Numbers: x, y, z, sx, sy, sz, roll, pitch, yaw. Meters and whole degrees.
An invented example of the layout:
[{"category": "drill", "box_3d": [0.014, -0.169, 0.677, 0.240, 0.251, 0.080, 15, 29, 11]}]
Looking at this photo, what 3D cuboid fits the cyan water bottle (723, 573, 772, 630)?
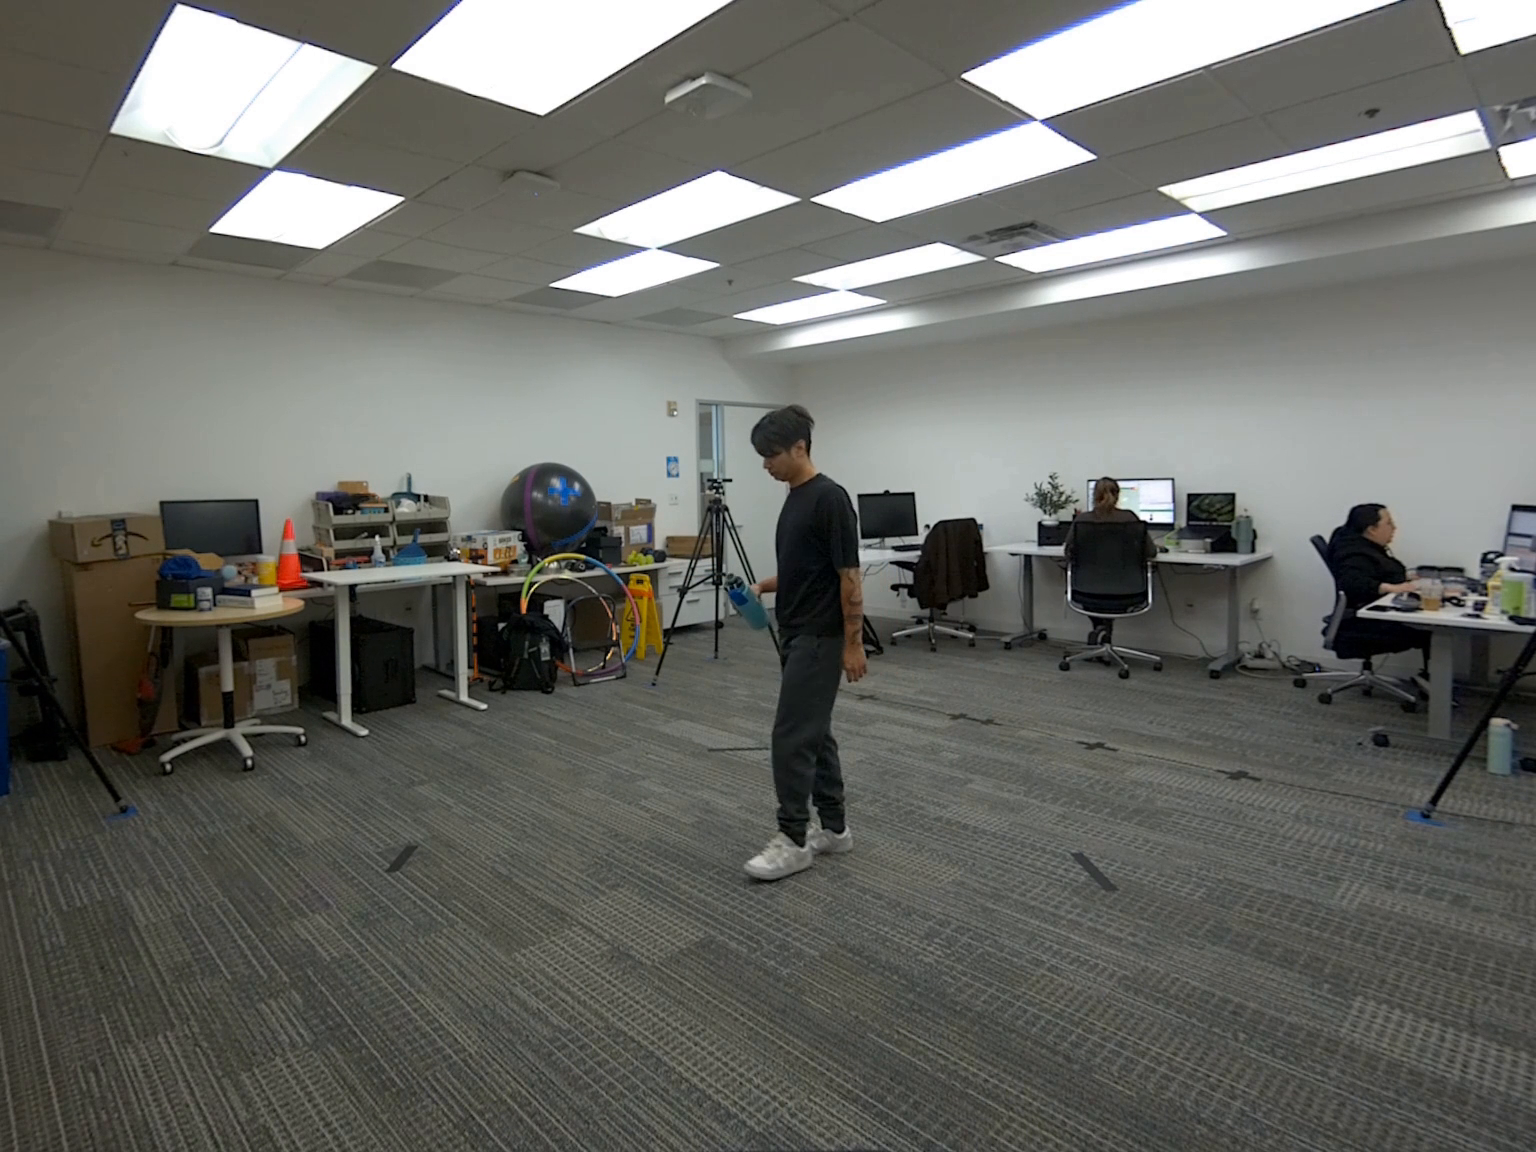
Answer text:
[{"category": "cyan water bottle", "box_3d": [-0.076, 0.102, 3.271, 0.095, 0.093, 0.272, 2, -36, 31]}]
